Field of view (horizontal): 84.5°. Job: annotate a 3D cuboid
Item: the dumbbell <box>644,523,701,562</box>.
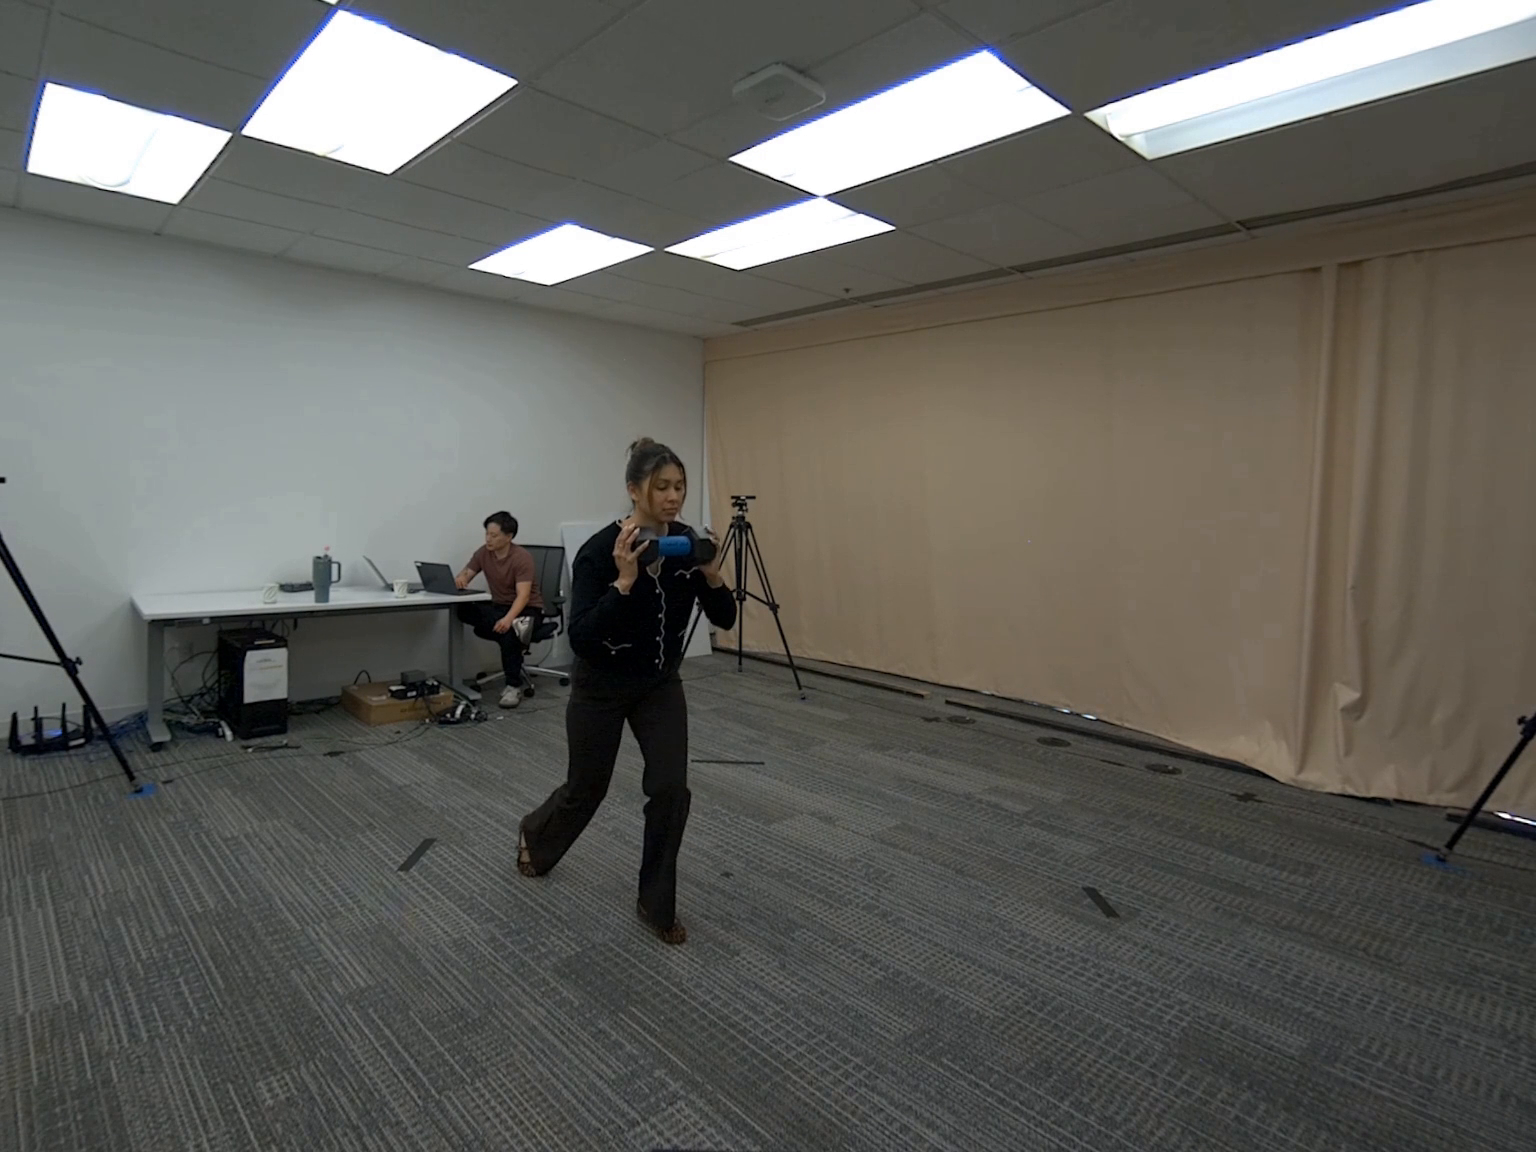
[{"bbox_3d":[-0.363,-0.084,2.519,0.287,0.110,0.124,-3,-16,-43],"label":"dumbbell"}]
